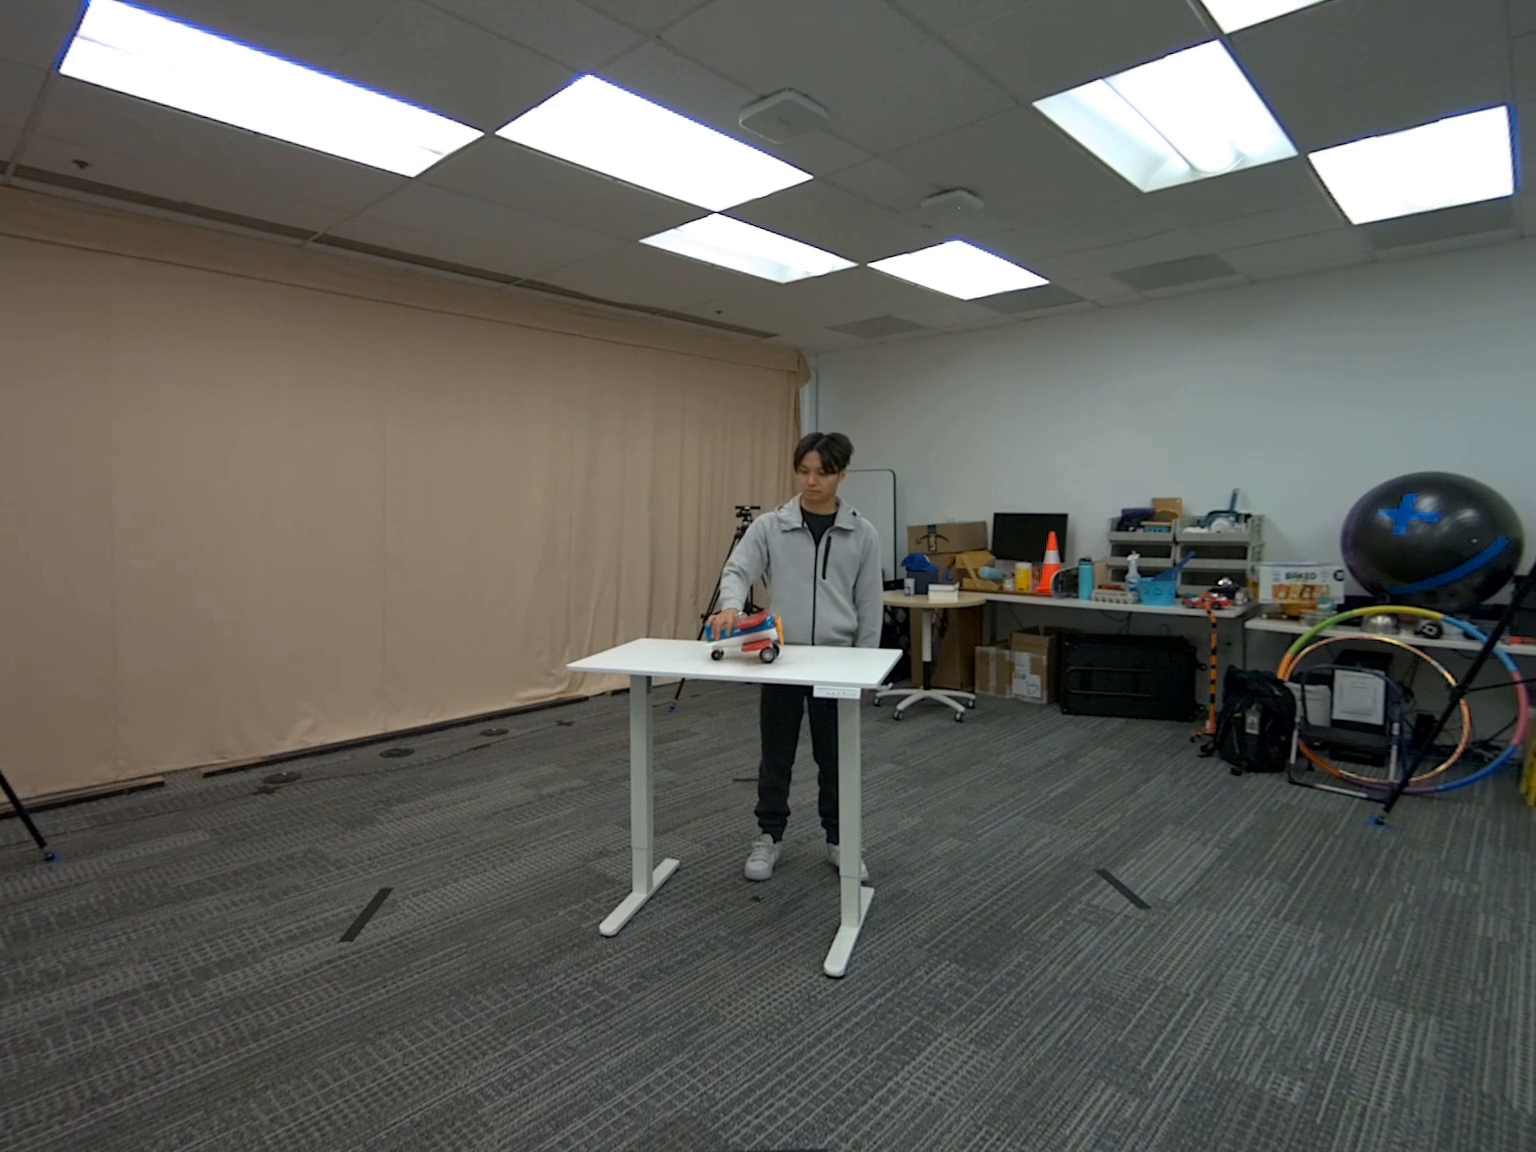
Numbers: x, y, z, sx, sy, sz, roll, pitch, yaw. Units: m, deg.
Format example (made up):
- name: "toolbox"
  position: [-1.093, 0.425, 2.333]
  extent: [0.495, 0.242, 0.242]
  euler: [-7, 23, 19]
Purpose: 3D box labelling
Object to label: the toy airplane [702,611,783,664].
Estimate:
- name: "toy airplane"
  position: [-0.076, 0.205, 2.758]
  extent: [0.254, 0.156, 0.256]
  euler: [-1, 3, -19]
